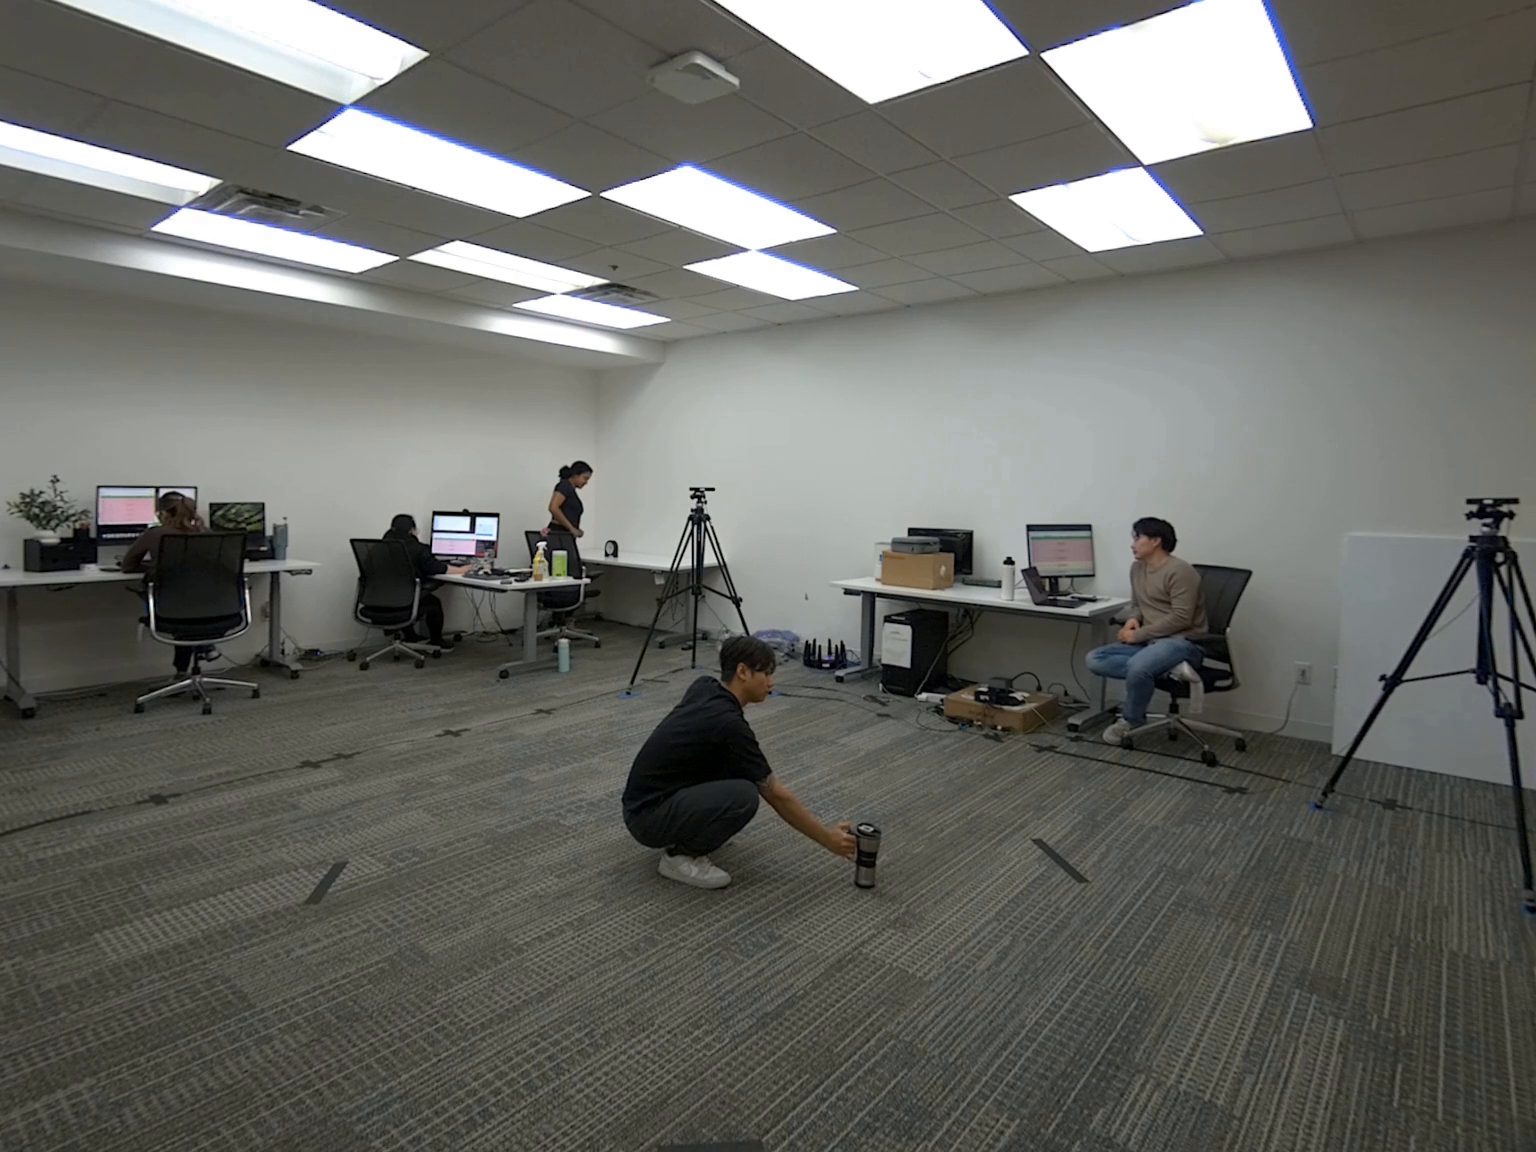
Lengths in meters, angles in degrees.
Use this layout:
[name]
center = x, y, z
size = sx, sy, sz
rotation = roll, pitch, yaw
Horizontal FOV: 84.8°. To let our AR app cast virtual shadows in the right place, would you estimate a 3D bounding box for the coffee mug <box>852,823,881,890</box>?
[coffee mug]
center = 0.327, 0.991, 3.019
size = 0.126, 0.201, 0.085
rotation = 13, 13, 38
